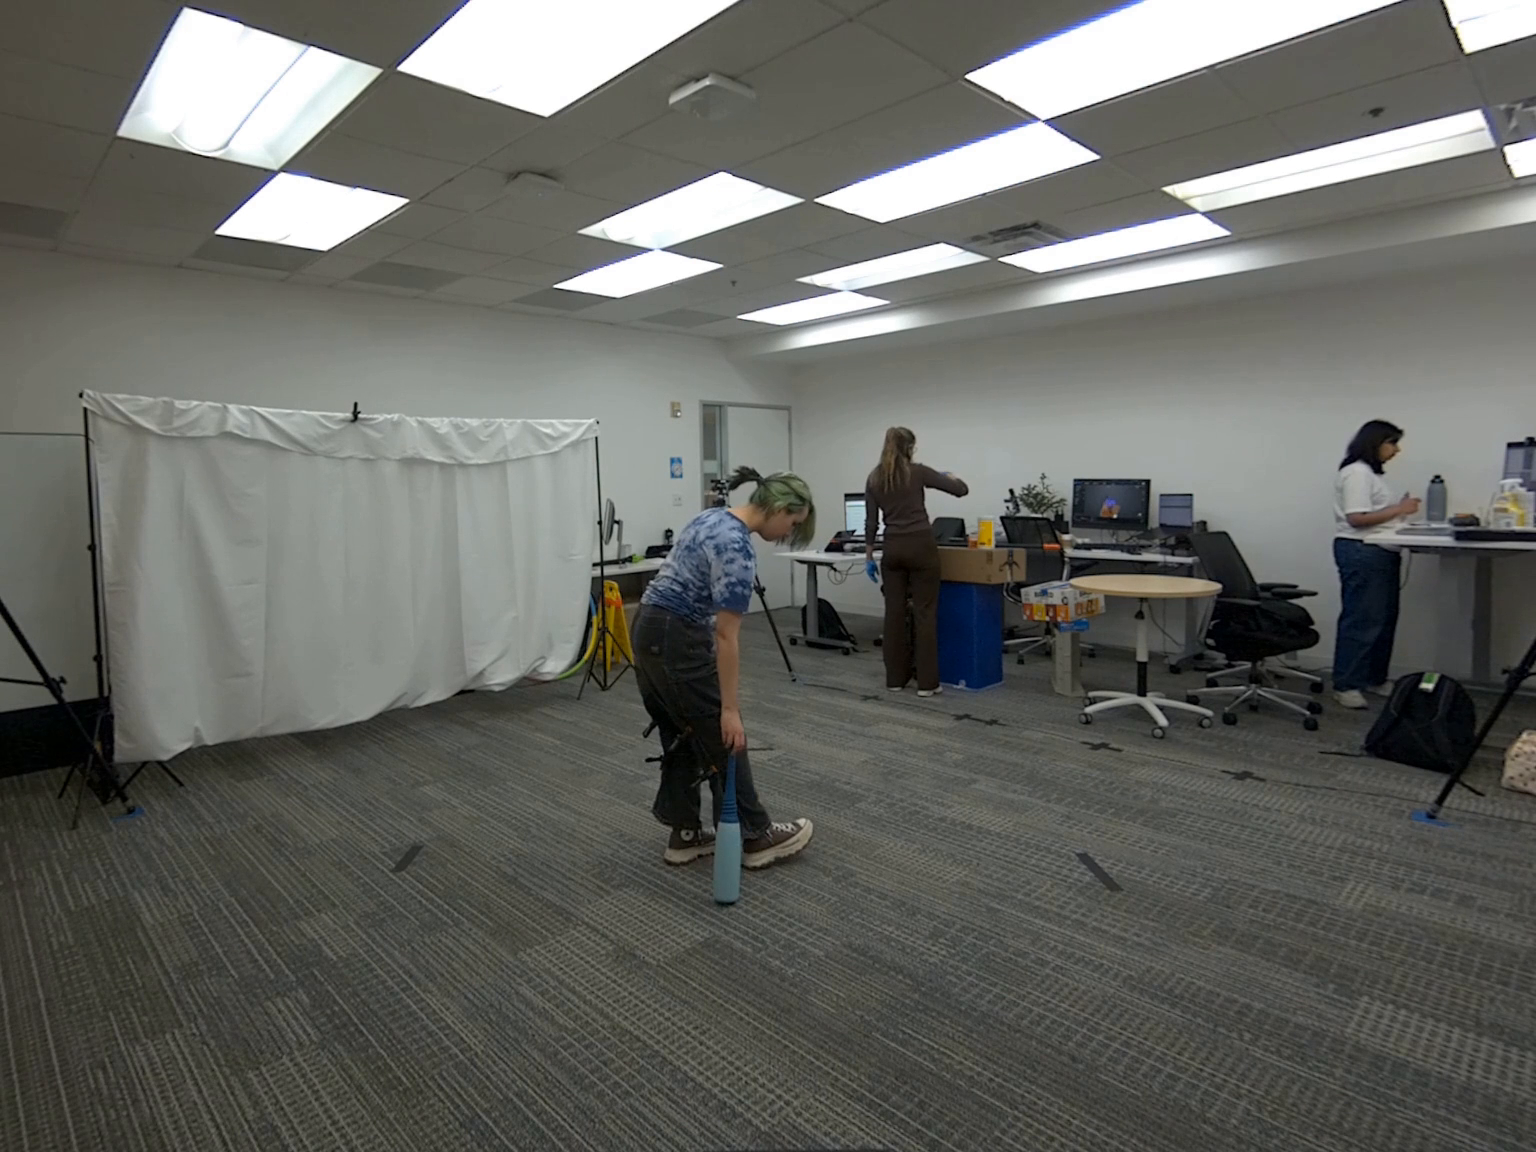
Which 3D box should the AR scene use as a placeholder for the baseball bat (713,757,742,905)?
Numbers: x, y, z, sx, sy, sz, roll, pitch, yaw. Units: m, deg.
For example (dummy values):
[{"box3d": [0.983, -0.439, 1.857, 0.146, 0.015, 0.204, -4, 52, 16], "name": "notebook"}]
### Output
[{"box3d": [-0.134, 0.819, 2.875, 0.089, 0.548, 0.088, 1, -11, -2], "name": "baseball bat"}]
